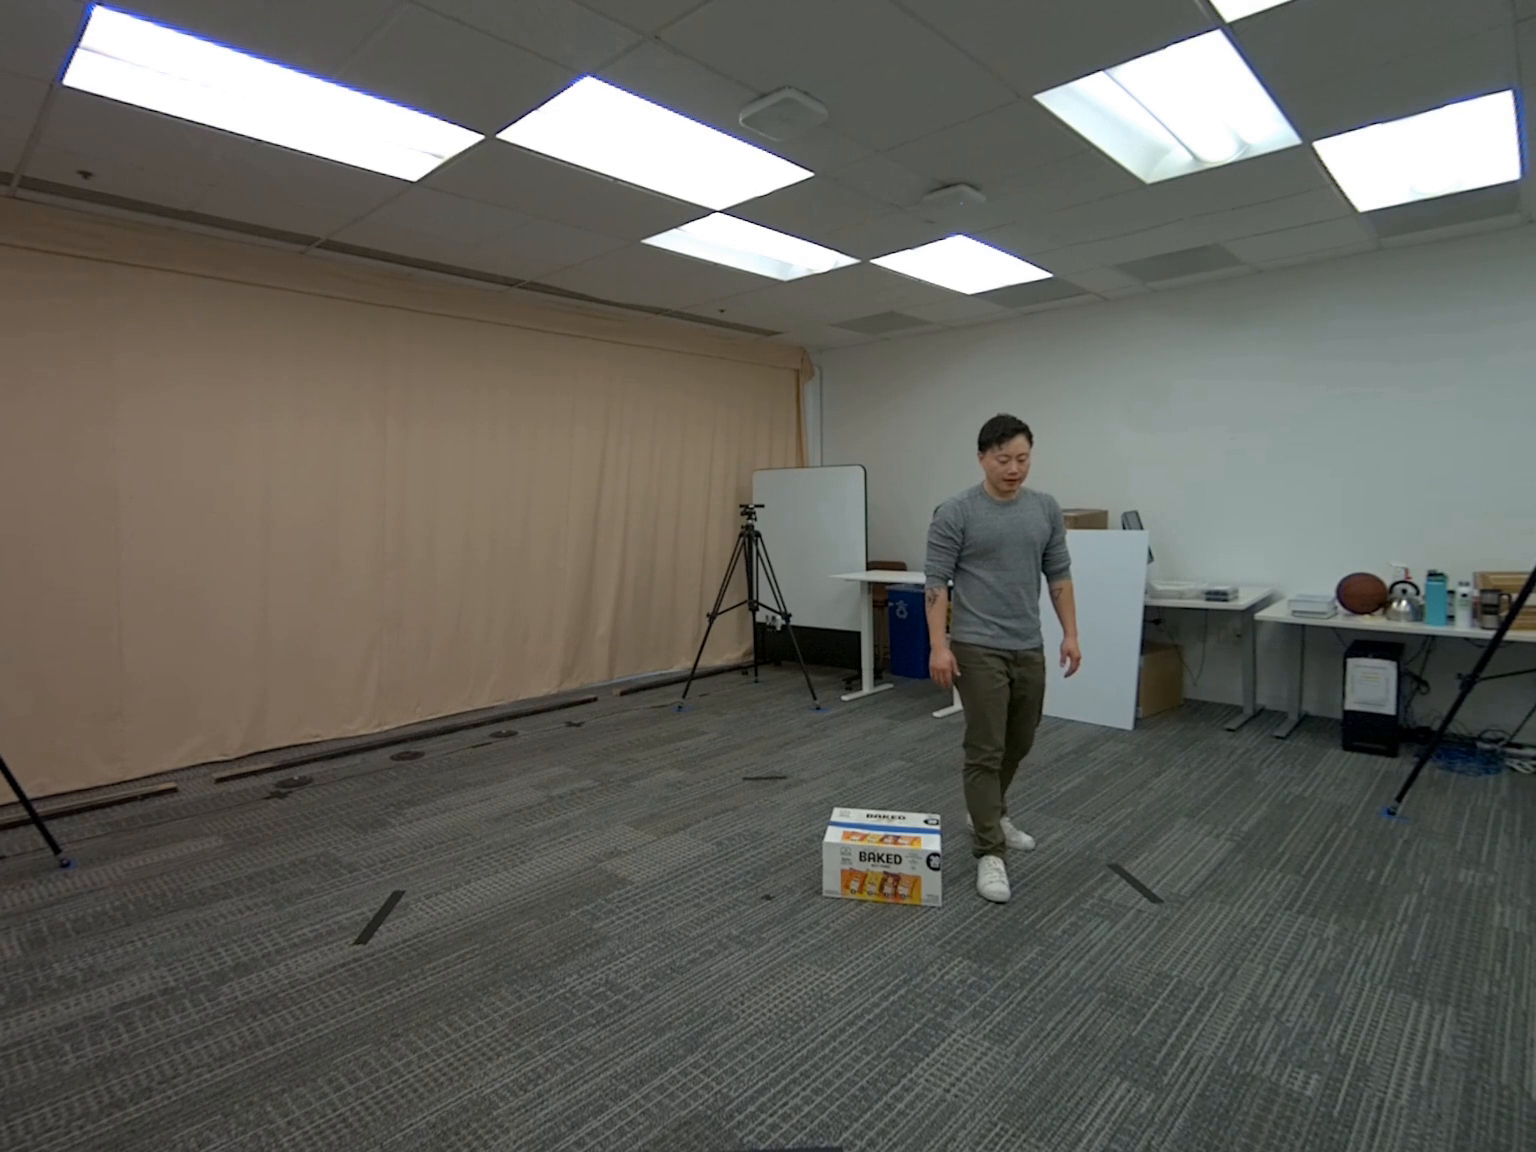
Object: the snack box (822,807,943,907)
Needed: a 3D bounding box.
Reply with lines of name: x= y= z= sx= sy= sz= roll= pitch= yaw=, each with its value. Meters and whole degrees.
snack box: x=0.430 y=1.025 z=3.091 sx=0.411 sy=0.205 sz=0.336 roll=0 pitch=5 yaw=12
